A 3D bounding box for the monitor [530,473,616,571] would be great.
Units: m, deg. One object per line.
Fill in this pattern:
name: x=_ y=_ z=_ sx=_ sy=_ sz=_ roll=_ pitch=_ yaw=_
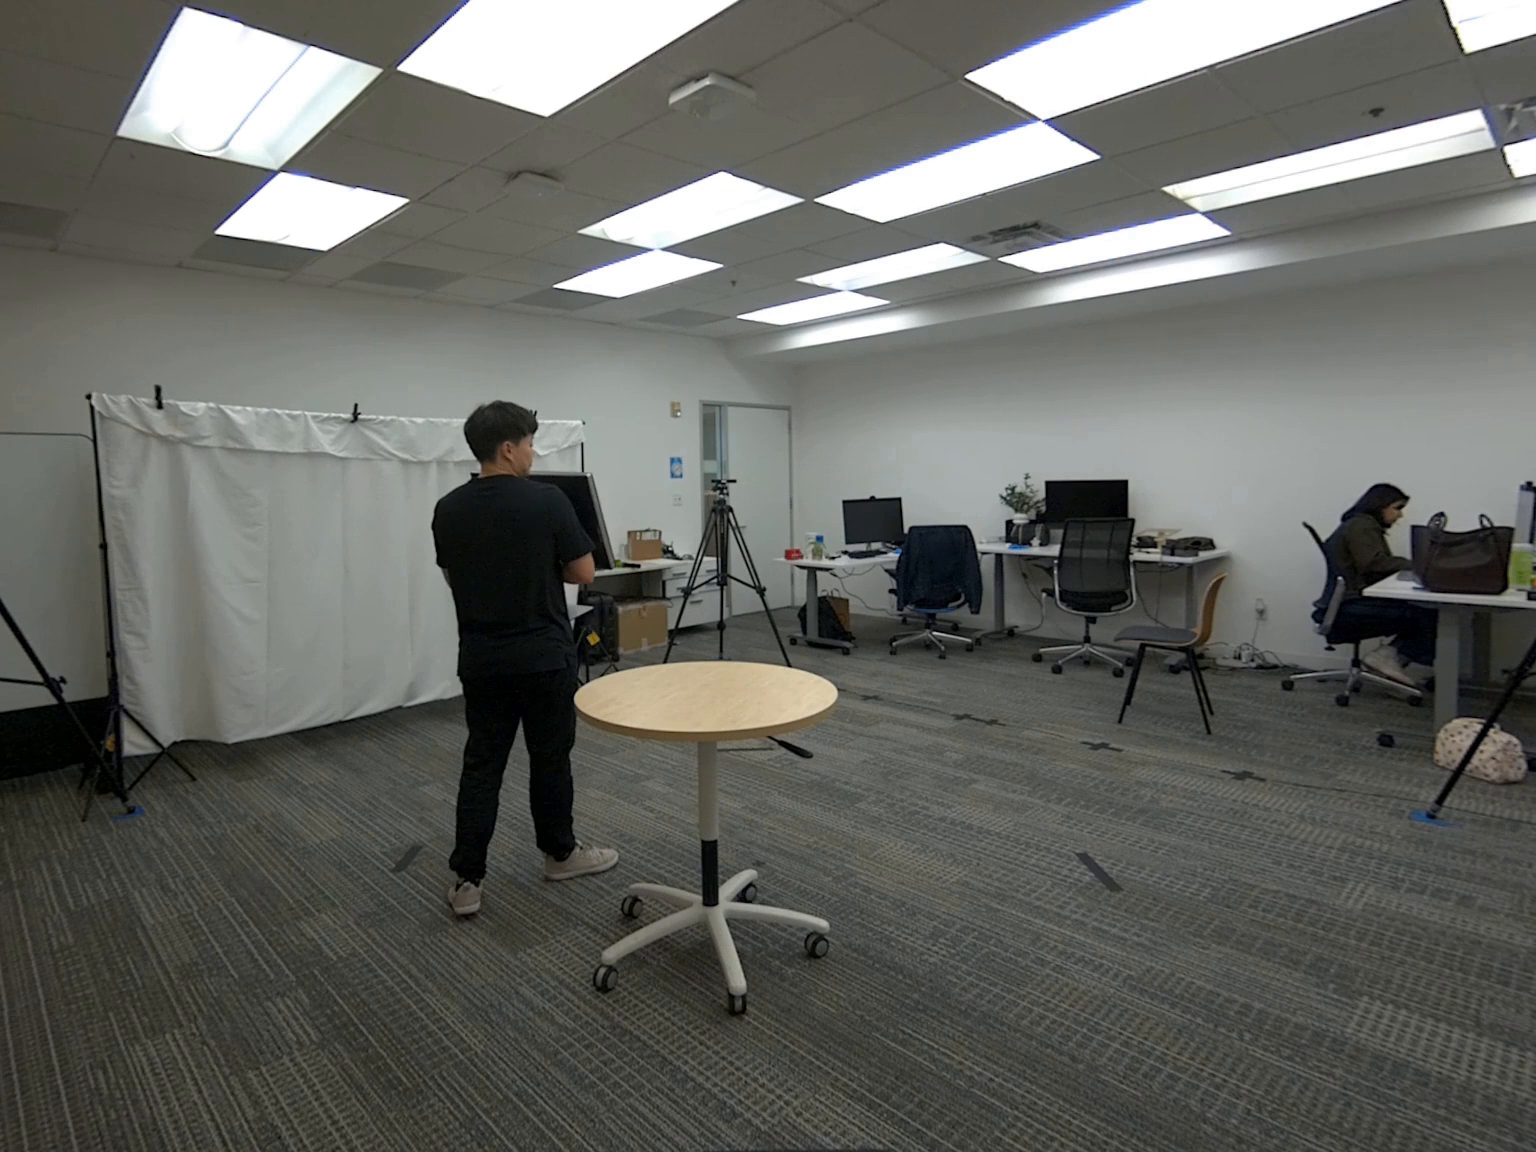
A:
monitor: x=-0.813 y=-0.109 z=3.071 sx=0.553 sy=0.515 sz=0.185 roll=4 pitch=16 yaw=30
